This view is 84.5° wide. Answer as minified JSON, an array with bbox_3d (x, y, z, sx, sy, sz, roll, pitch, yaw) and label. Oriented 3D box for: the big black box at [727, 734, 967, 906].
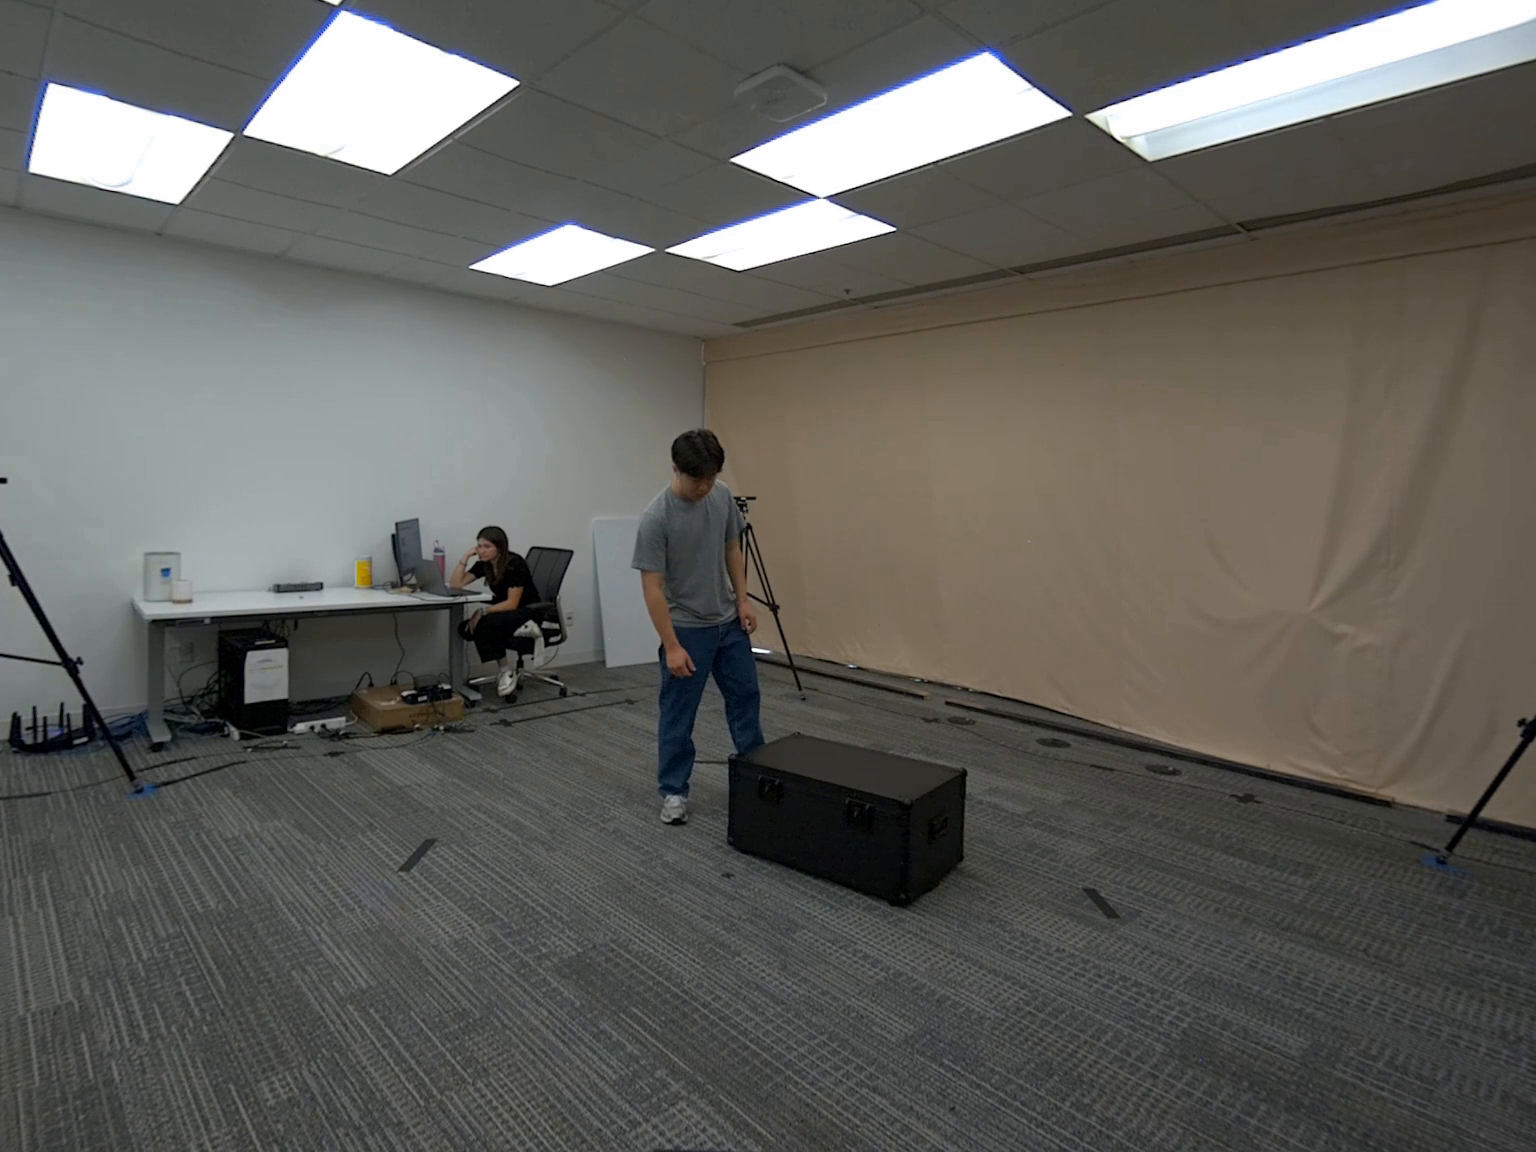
[{"bbox_3d":[0.264,0.908,3.288,0.882,0.395,0.510,4,5,37],"label":"big black box"}]
